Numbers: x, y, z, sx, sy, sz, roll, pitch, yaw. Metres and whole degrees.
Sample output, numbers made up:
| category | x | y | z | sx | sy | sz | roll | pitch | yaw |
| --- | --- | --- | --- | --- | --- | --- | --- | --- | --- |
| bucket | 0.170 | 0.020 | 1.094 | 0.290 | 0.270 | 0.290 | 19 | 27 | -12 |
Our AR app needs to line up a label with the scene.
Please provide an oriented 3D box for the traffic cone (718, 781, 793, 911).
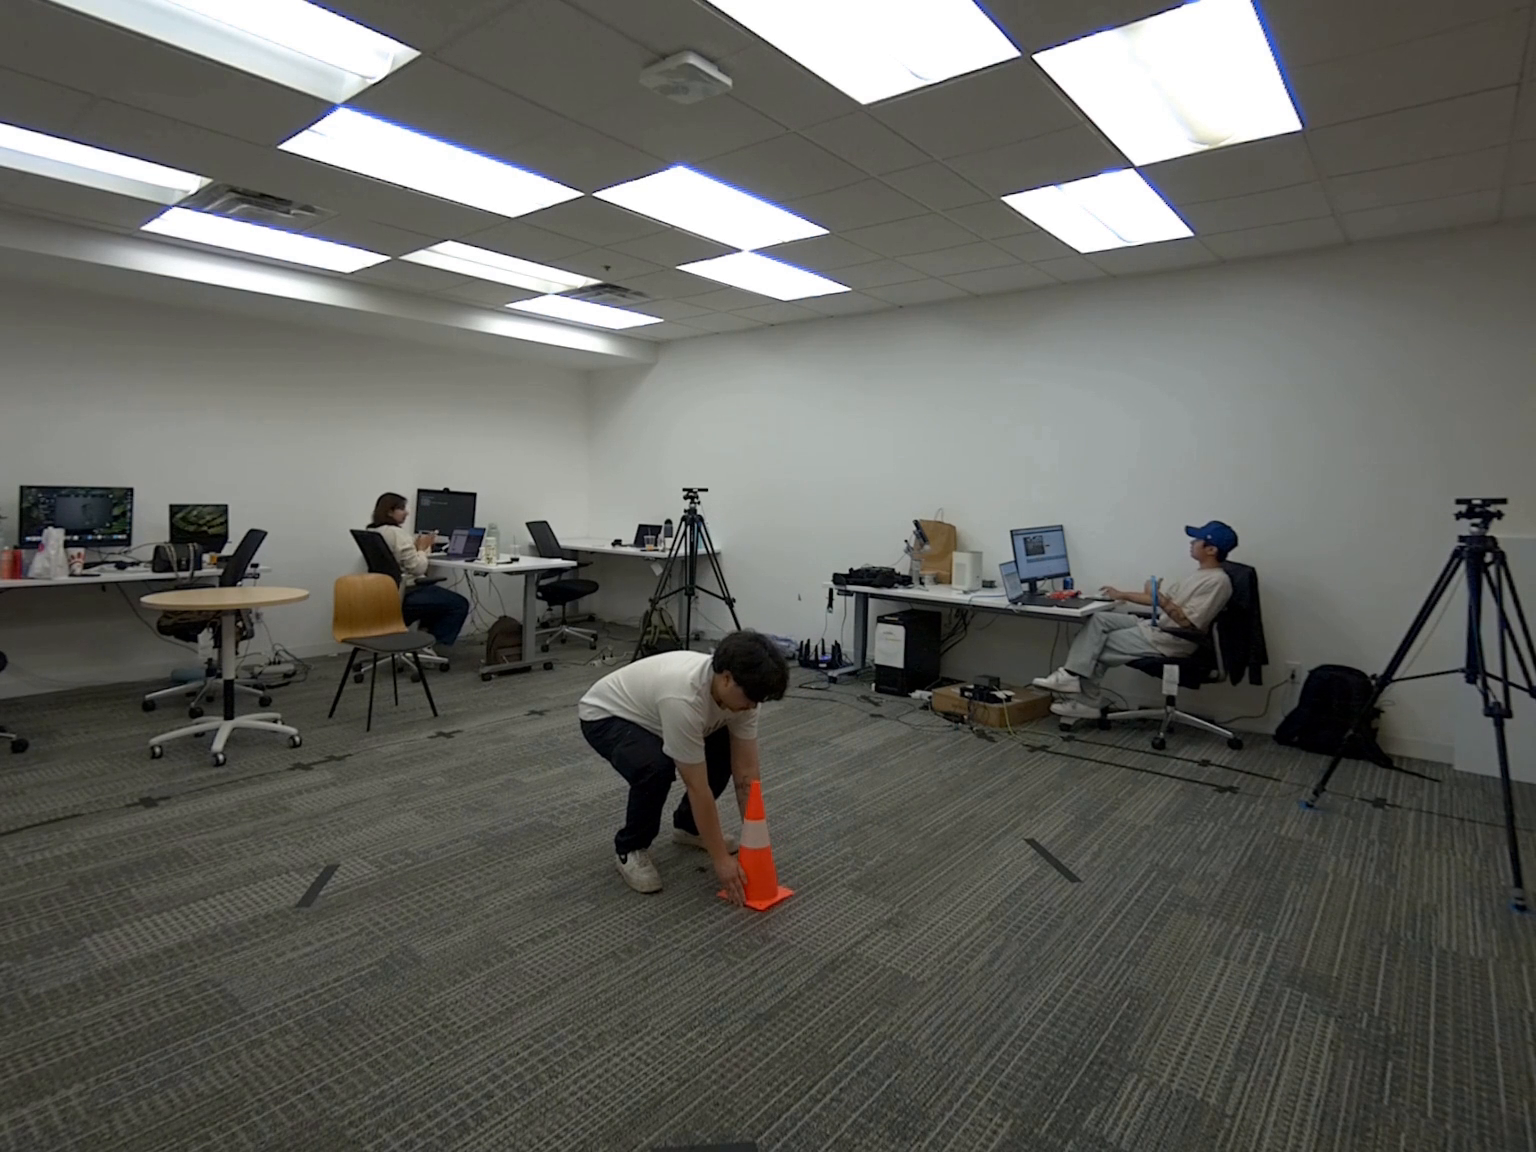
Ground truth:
| category | x | y | z | sx | sy | sz | roll | pitch | yaw |
| --- | --- | --- | --- | --- | --- | --- | --- | --- | --- |
| traffic cone | -0.054 | 0.907 | 2.925 | 0.198 | 0.384 | 0.210 | 1 | -1 | -44 |
